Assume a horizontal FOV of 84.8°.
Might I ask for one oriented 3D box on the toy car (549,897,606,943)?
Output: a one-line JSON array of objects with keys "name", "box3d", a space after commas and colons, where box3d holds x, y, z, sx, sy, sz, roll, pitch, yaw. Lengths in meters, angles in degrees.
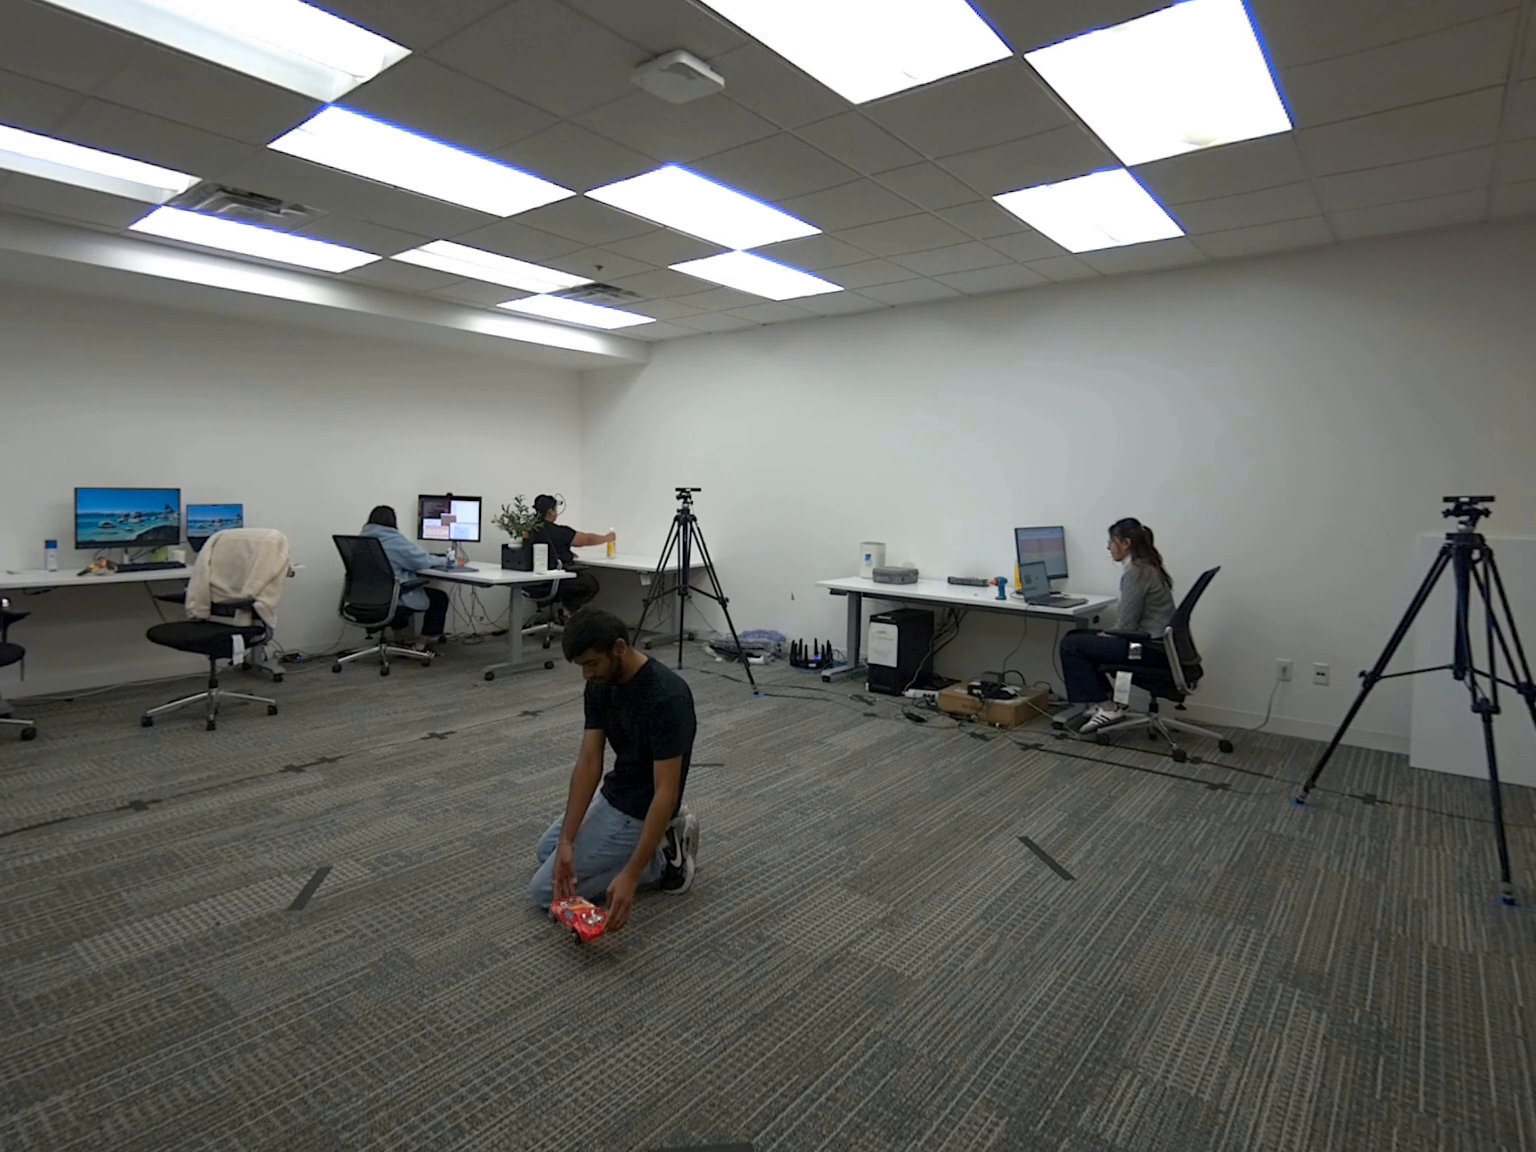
[{"name": "toy car", "box3d": [-0.569, 1.021, 2.541, 0.127, 0.083, 0.261, -9, -1, -40]}]
